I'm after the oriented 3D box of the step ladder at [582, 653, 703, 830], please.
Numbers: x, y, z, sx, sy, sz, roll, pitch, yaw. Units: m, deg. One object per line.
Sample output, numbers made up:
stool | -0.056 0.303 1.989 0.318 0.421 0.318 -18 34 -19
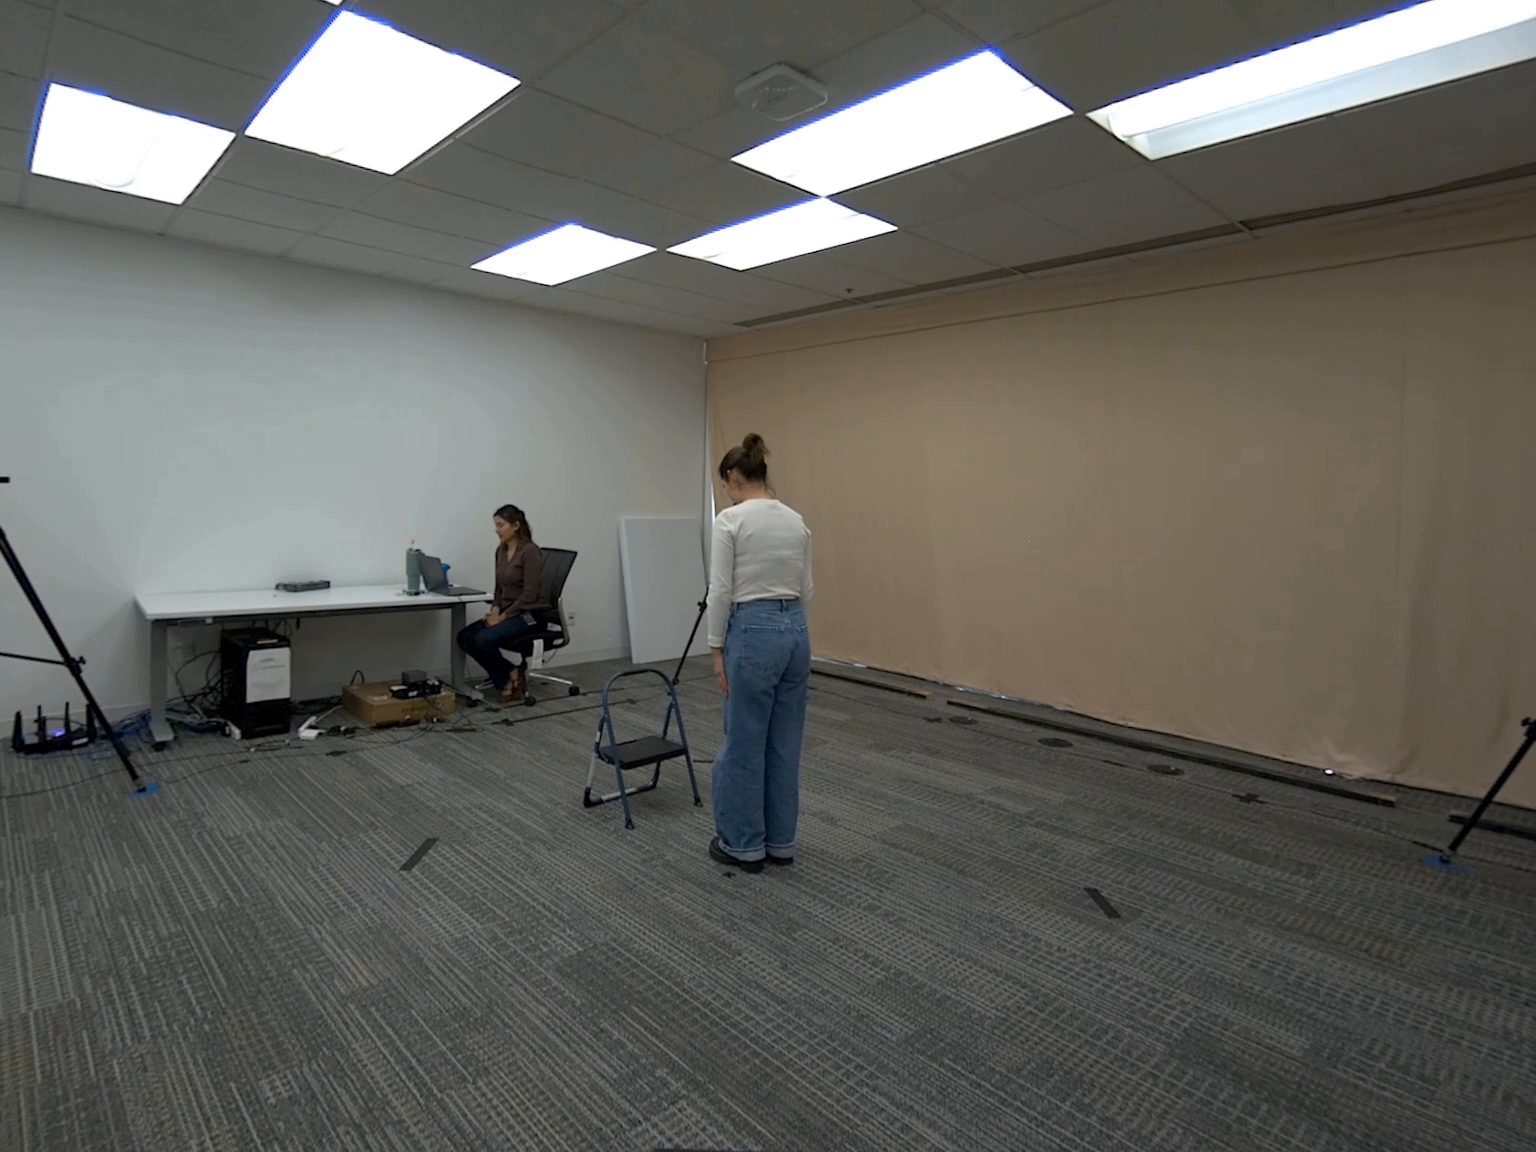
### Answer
step ladder | -0.561 0.732 3.762 0.358 0.605 0.421 4 4 42
